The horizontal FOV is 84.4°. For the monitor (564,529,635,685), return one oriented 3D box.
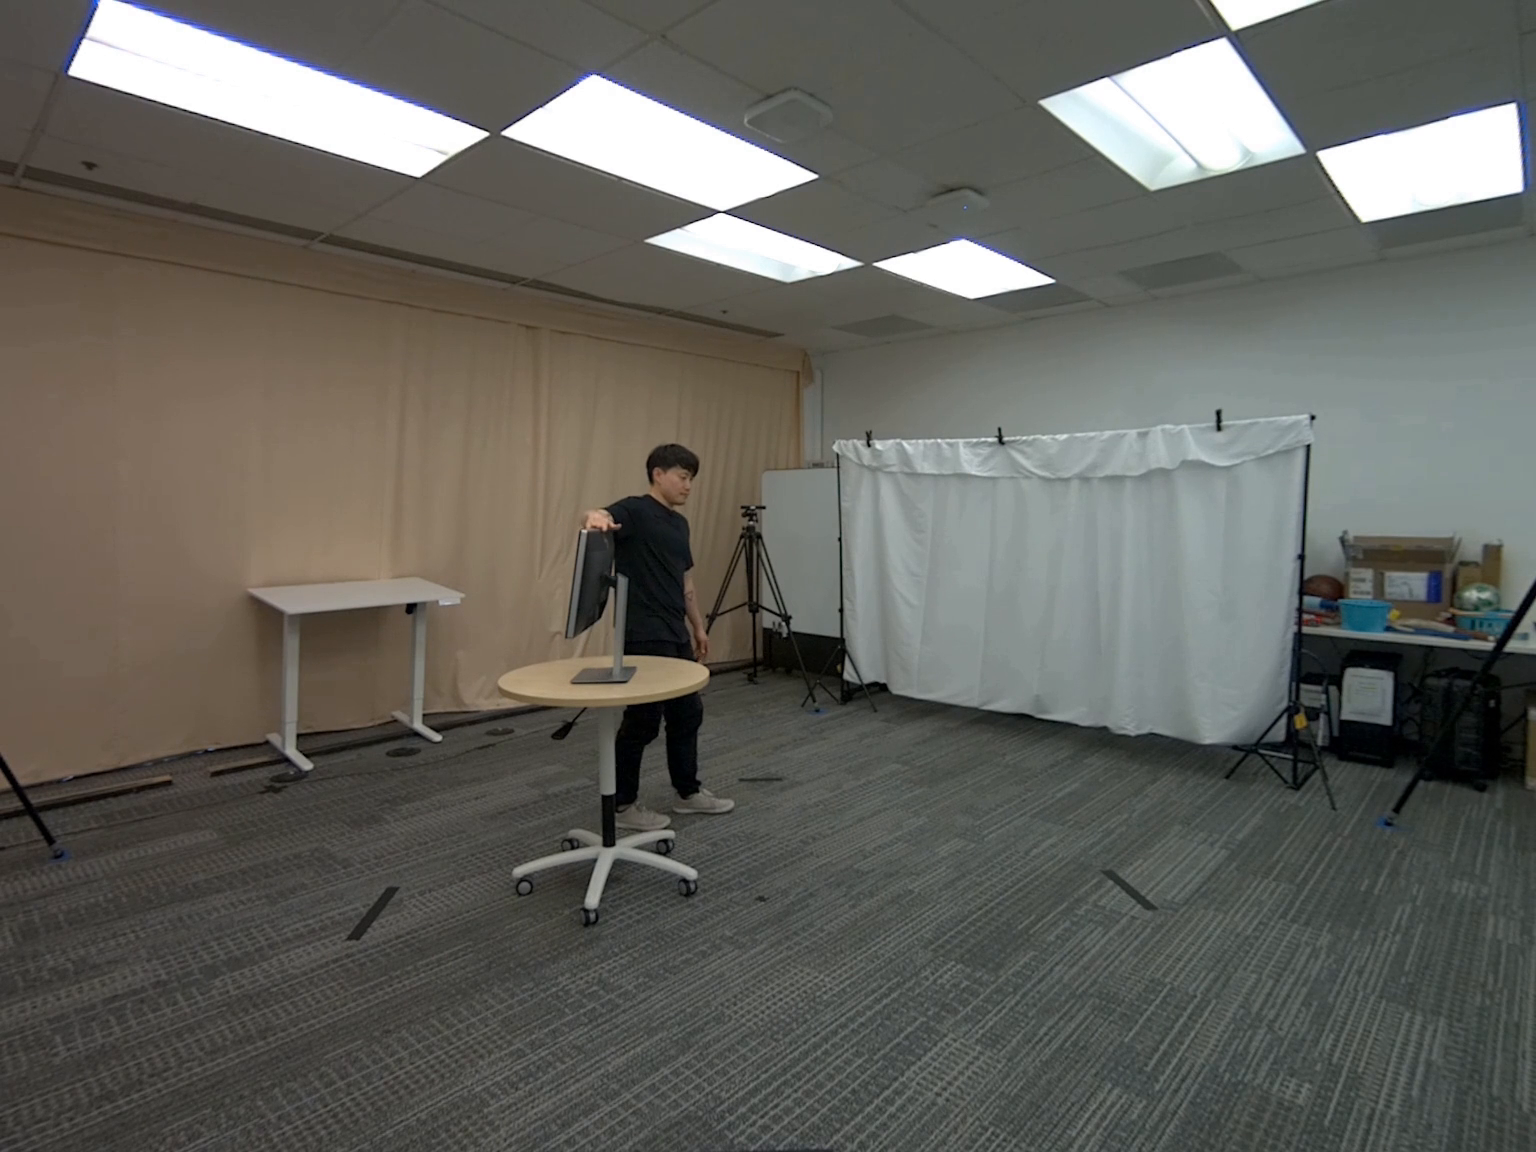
[{"bbox_3d":[-0.592,0.103,3.032,0.187,0.522,0.540,-2,3,-2],"label":"monitor"}]
